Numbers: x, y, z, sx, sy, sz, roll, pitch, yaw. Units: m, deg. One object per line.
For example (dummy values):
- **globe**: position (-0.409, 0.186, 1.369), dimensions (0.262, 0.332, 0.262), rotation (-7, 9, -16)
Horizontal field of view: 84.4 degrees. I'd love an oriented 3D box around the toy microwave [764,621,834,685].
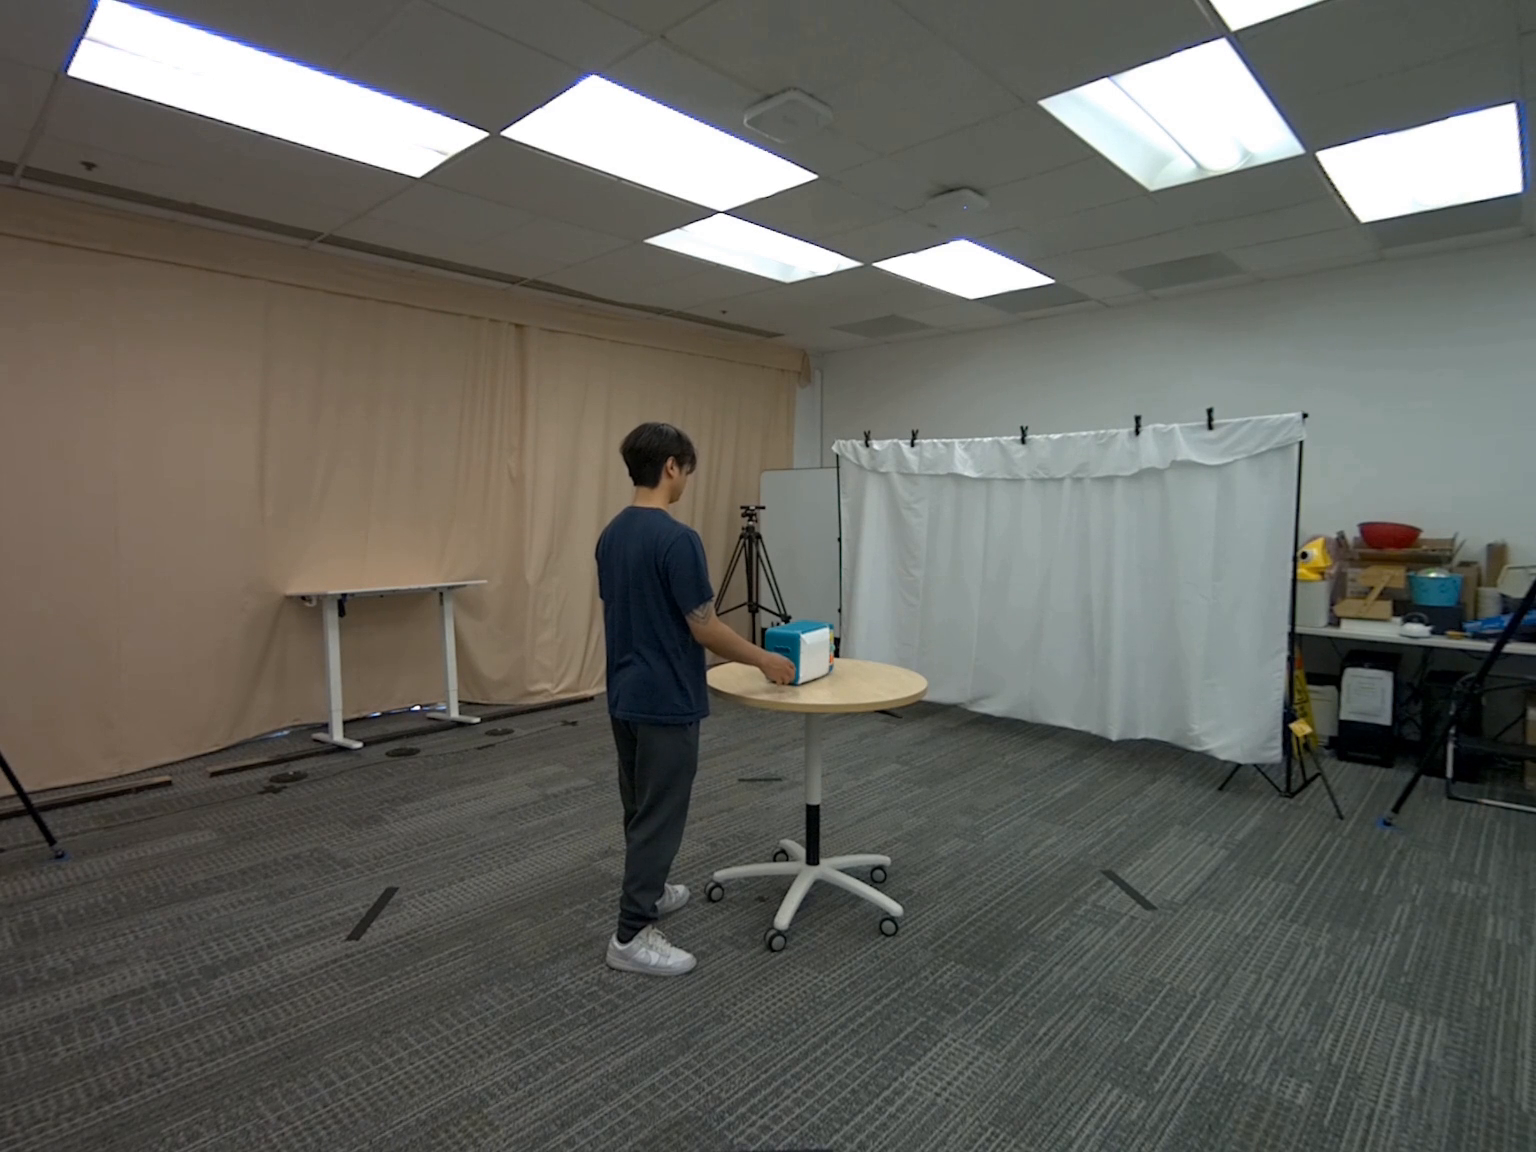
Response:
- **toy microwave**: position (0.130, 0.264, 2.894), dimensions (0.157, 0.183, 0.279), rotation (4, 6, 28)
